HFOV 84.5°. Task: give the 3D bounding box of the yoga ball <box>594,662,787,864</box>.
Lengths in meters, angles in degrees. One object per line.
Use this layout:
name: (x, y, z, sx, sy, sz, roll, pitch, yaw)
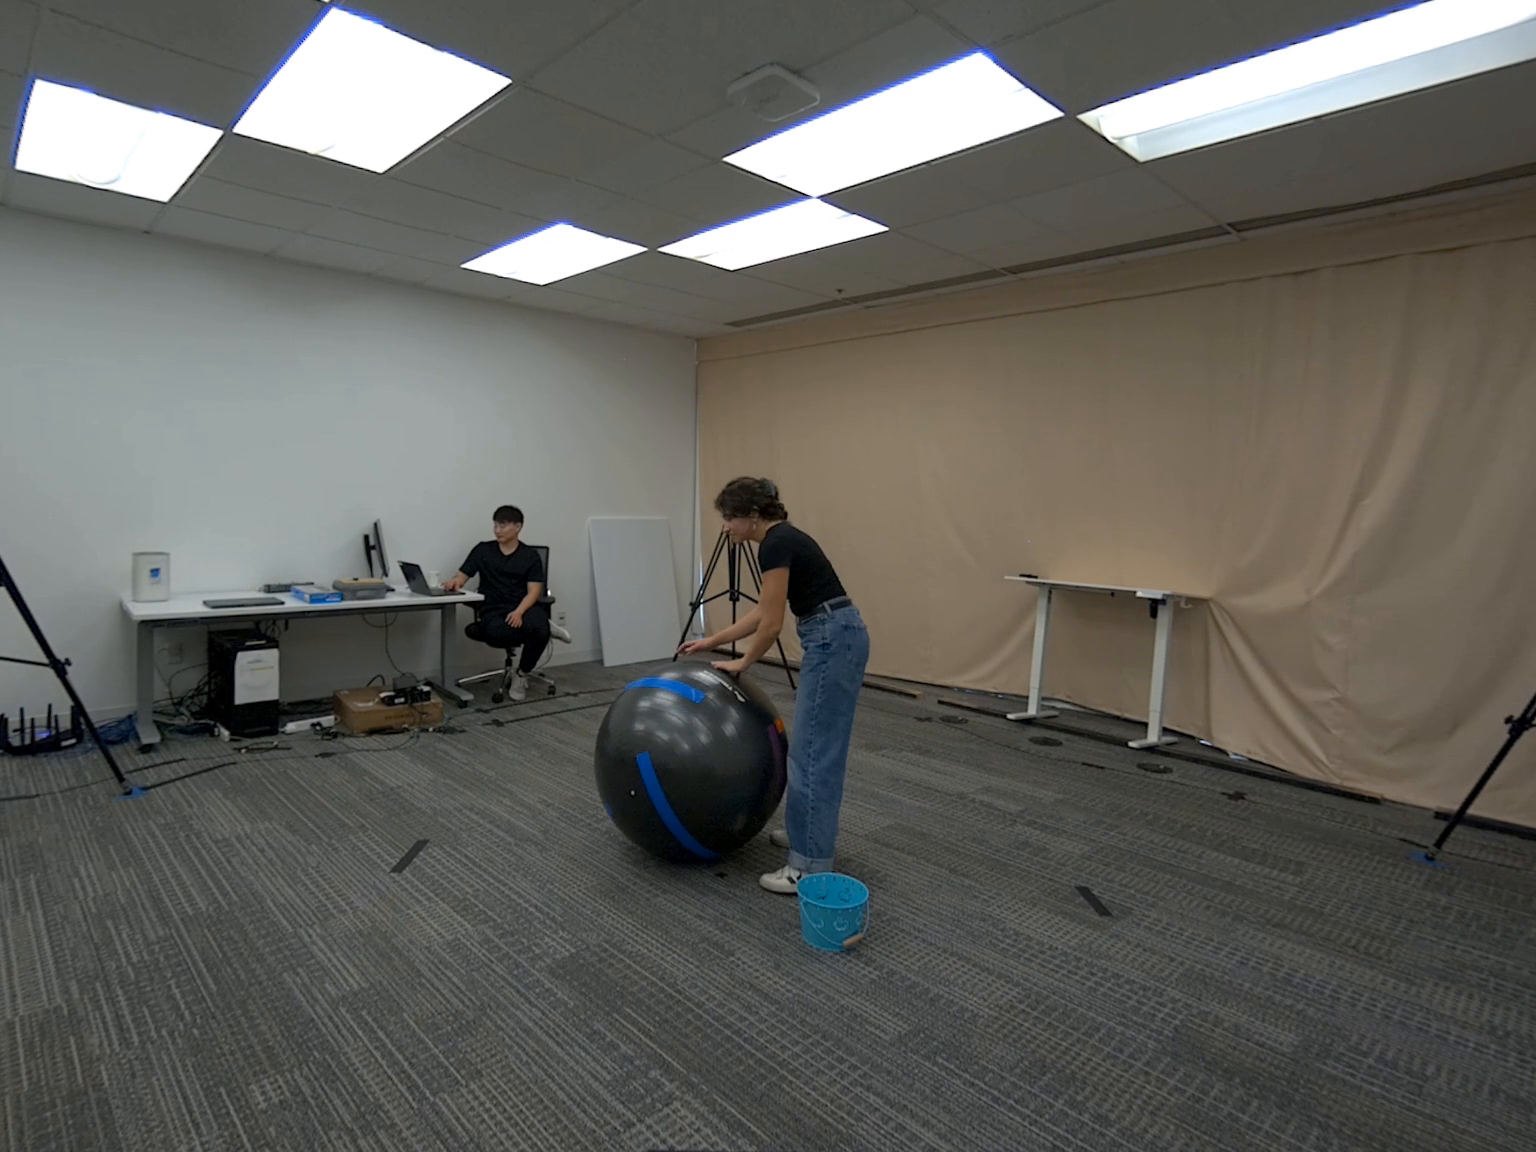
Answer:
yoga ball: (-0.305, 0.714, 3.279, 0.757, 0.756, 0.761, 1, 4, -1)
